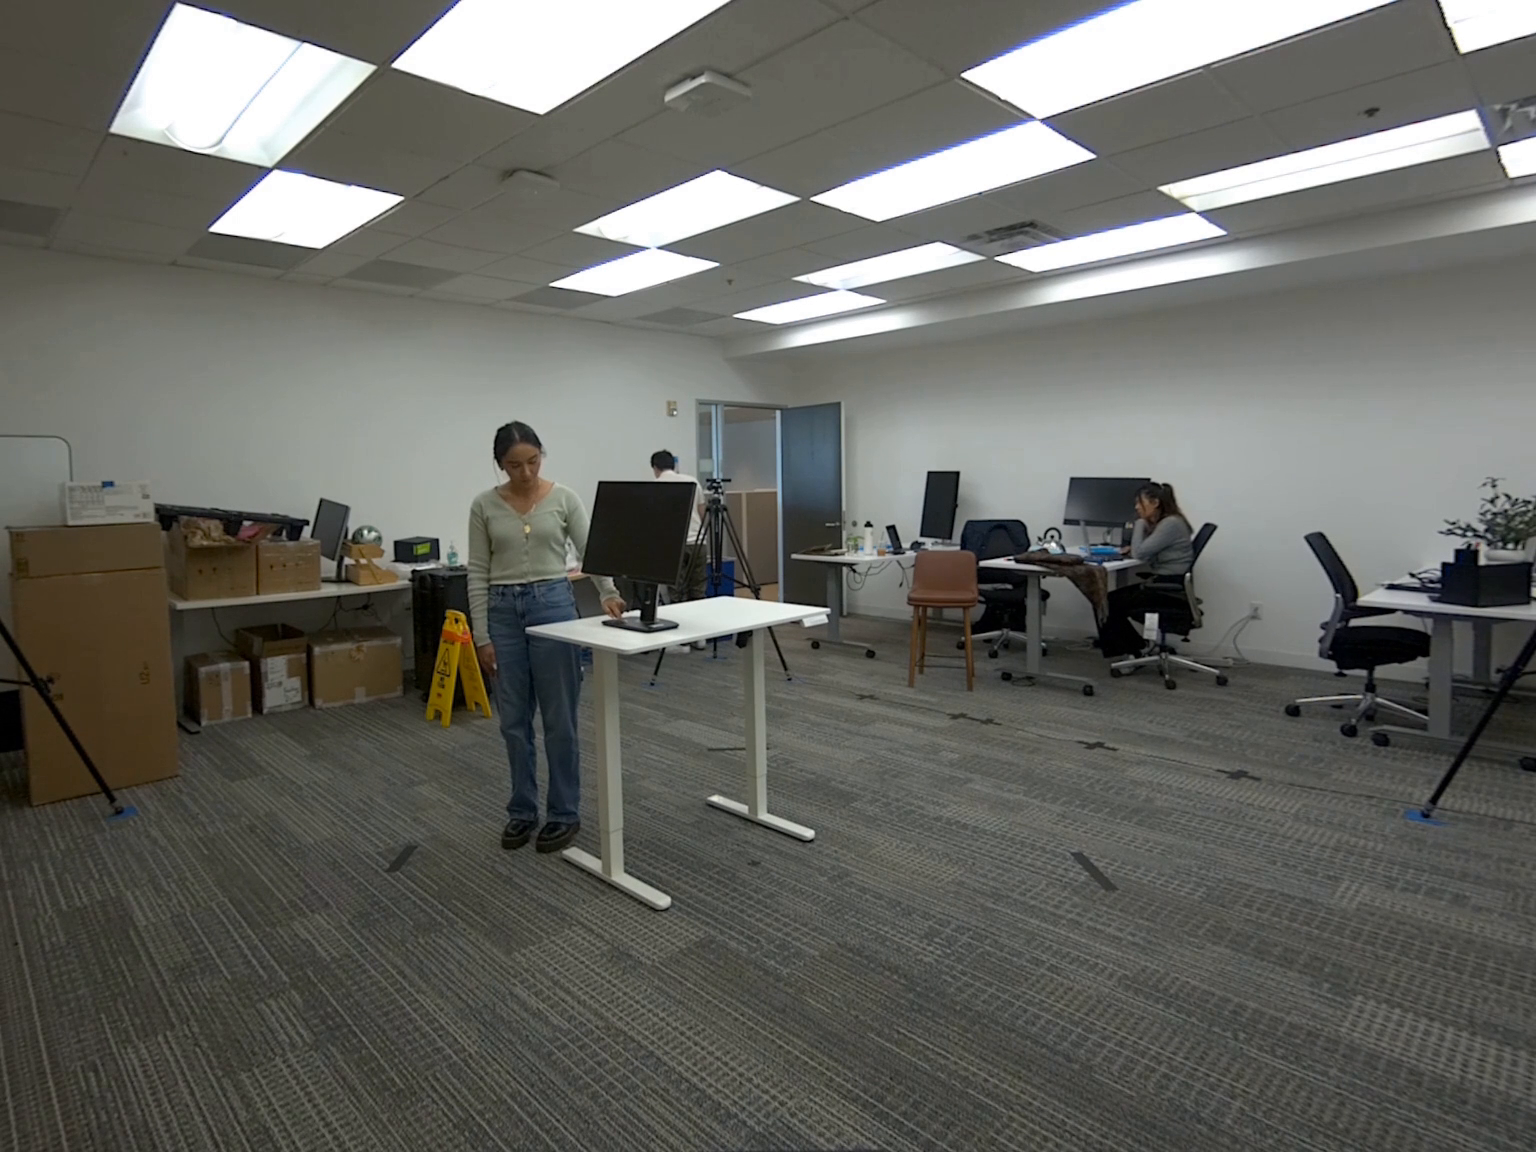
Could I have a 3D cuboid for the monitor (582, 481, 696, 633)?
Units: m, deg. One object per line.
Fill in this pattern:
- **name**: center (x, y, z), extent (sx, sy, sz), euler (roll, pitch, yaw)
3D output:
- **monitor**: center (-0.443, -0.073, 3.030), extent (0.556, 0.521, 0.182), euler (5, 5, 42)
